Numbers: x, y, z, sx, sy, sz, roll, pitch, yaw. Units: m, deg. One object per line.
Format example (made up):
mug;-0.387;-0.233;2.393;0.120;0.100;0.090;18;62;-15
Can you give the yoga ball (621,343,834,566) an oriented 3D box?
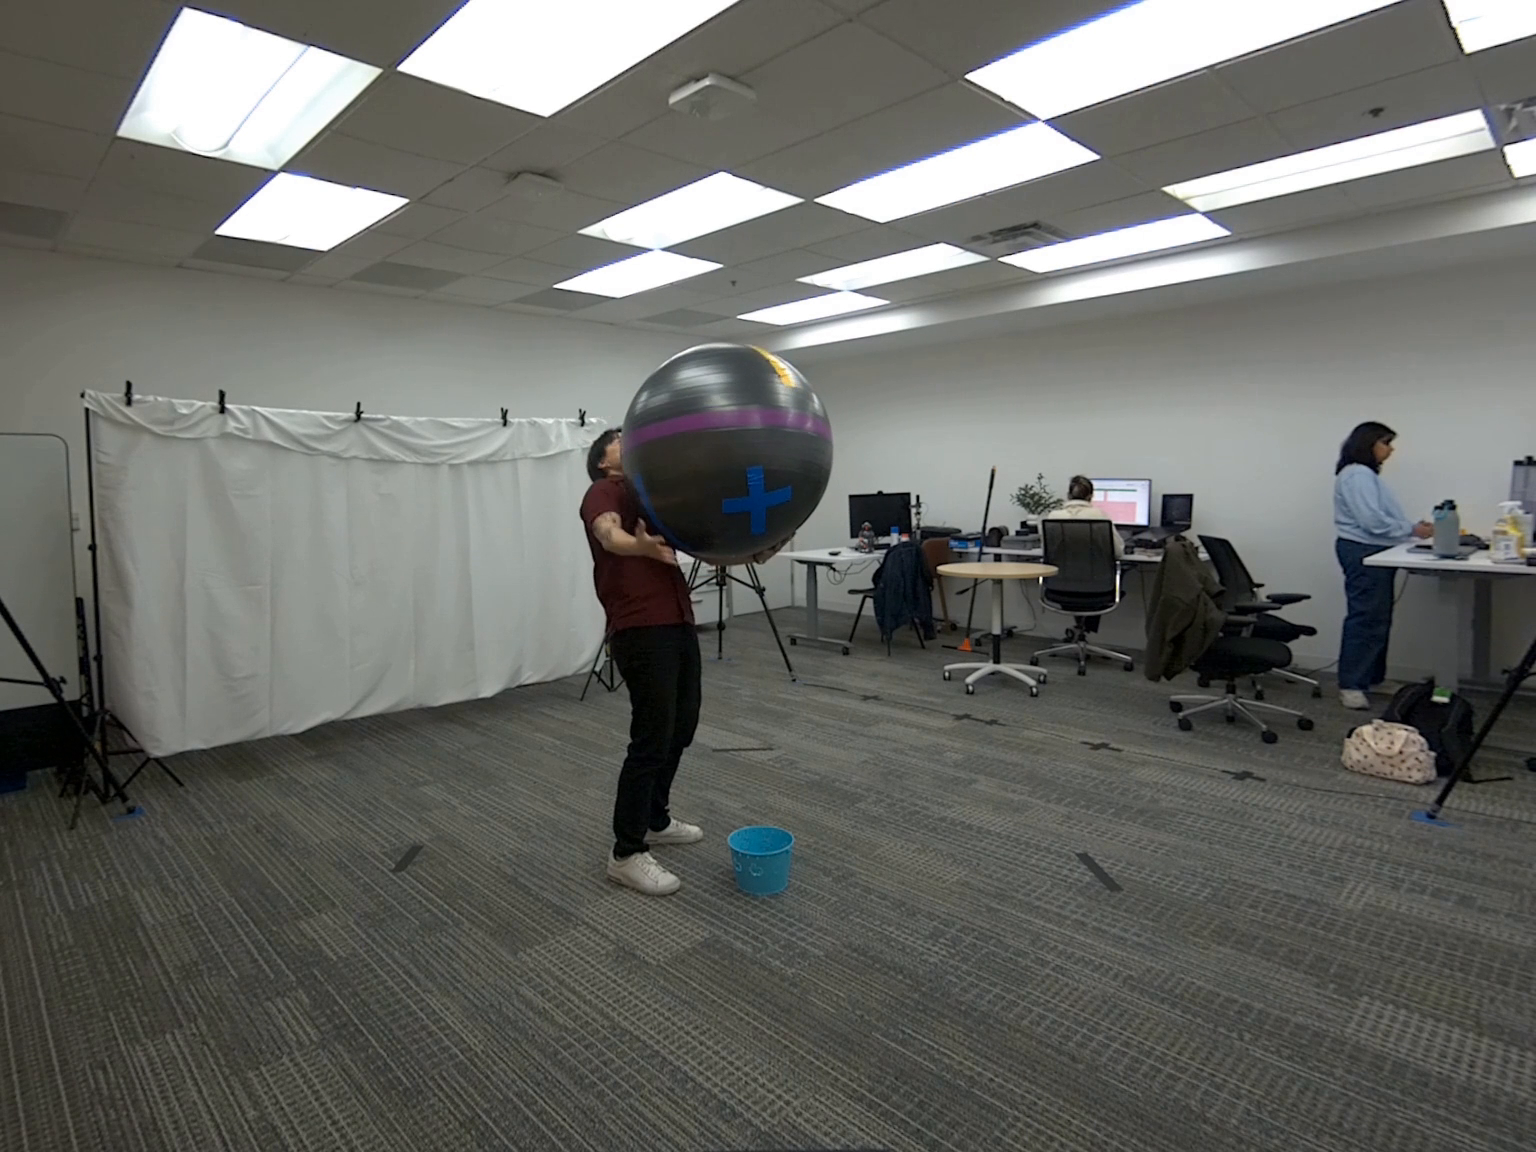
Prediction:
yoga ball;-0.146;-0.437;3.047;0.757;0.755;0.762;-1;5;-2
